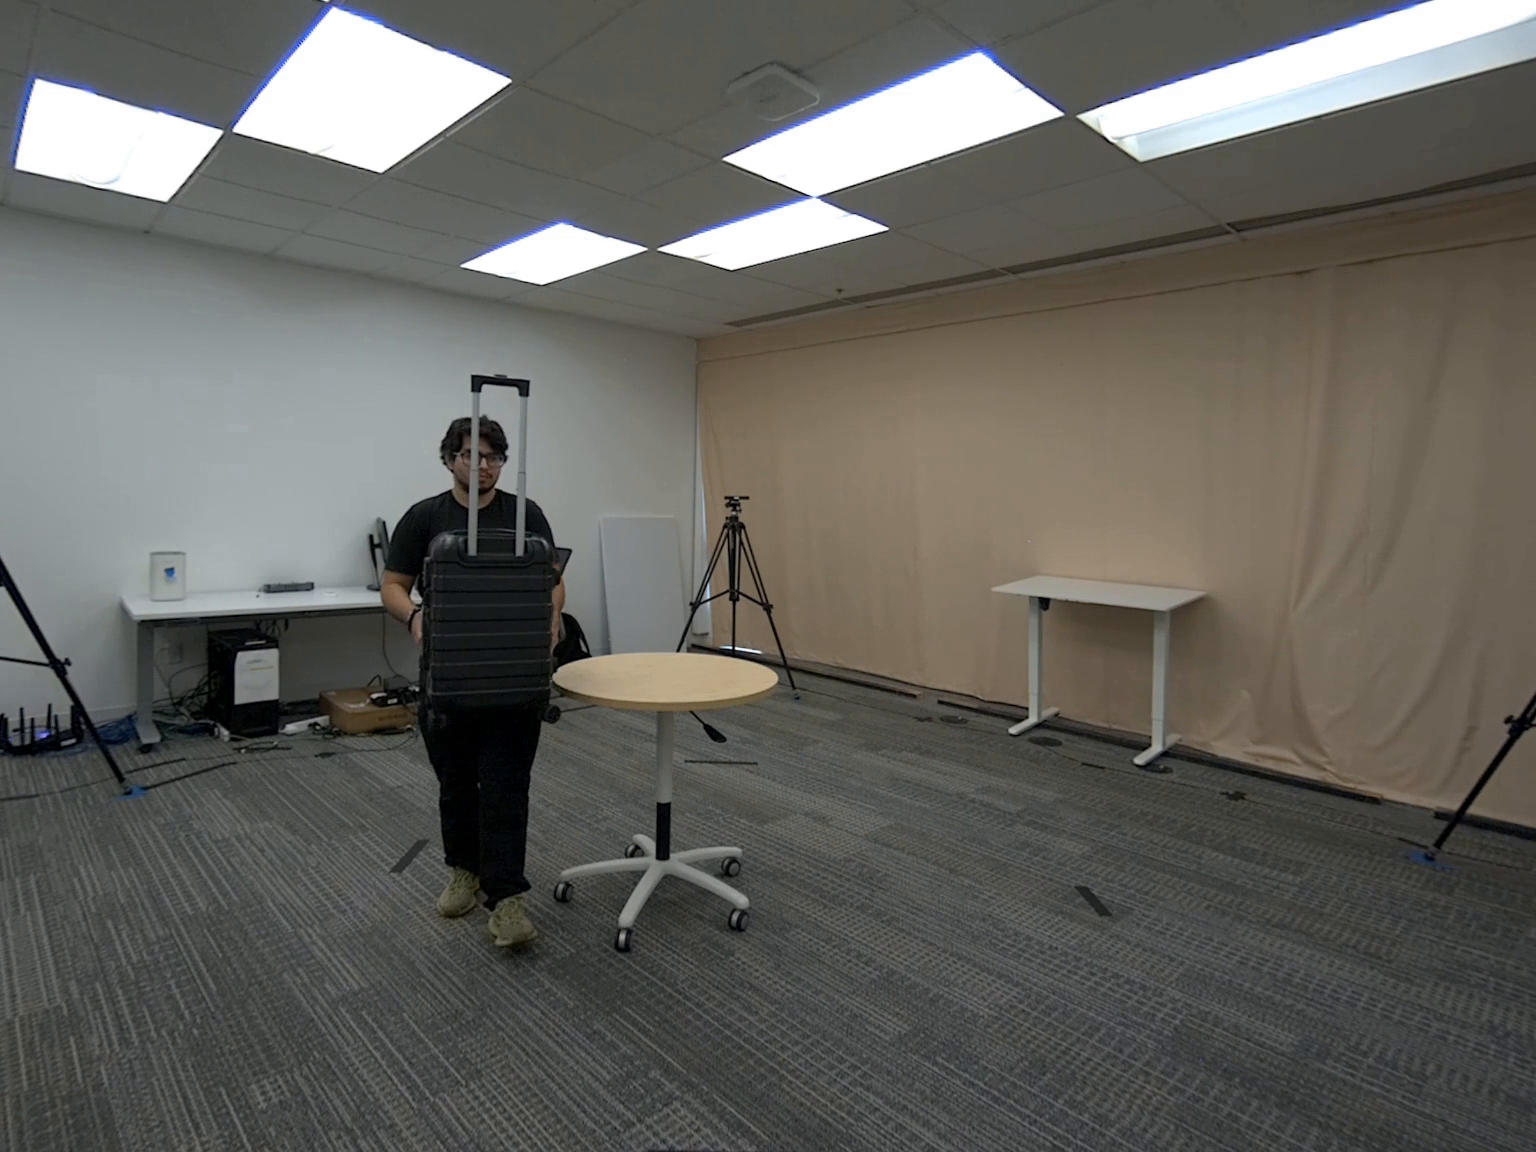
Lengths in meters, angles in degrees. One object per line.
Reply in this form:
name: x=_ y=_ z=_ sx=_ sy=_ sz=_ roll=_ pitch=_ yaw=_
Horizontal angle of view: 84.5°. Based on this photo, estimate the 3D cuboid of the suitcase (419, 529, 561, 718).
suitcase: x=-0.820 y=-0.069 z=2.441 sx=0.377 sy=0.979 sz=0.261 roll=1 pitch=0 yaw=-22
